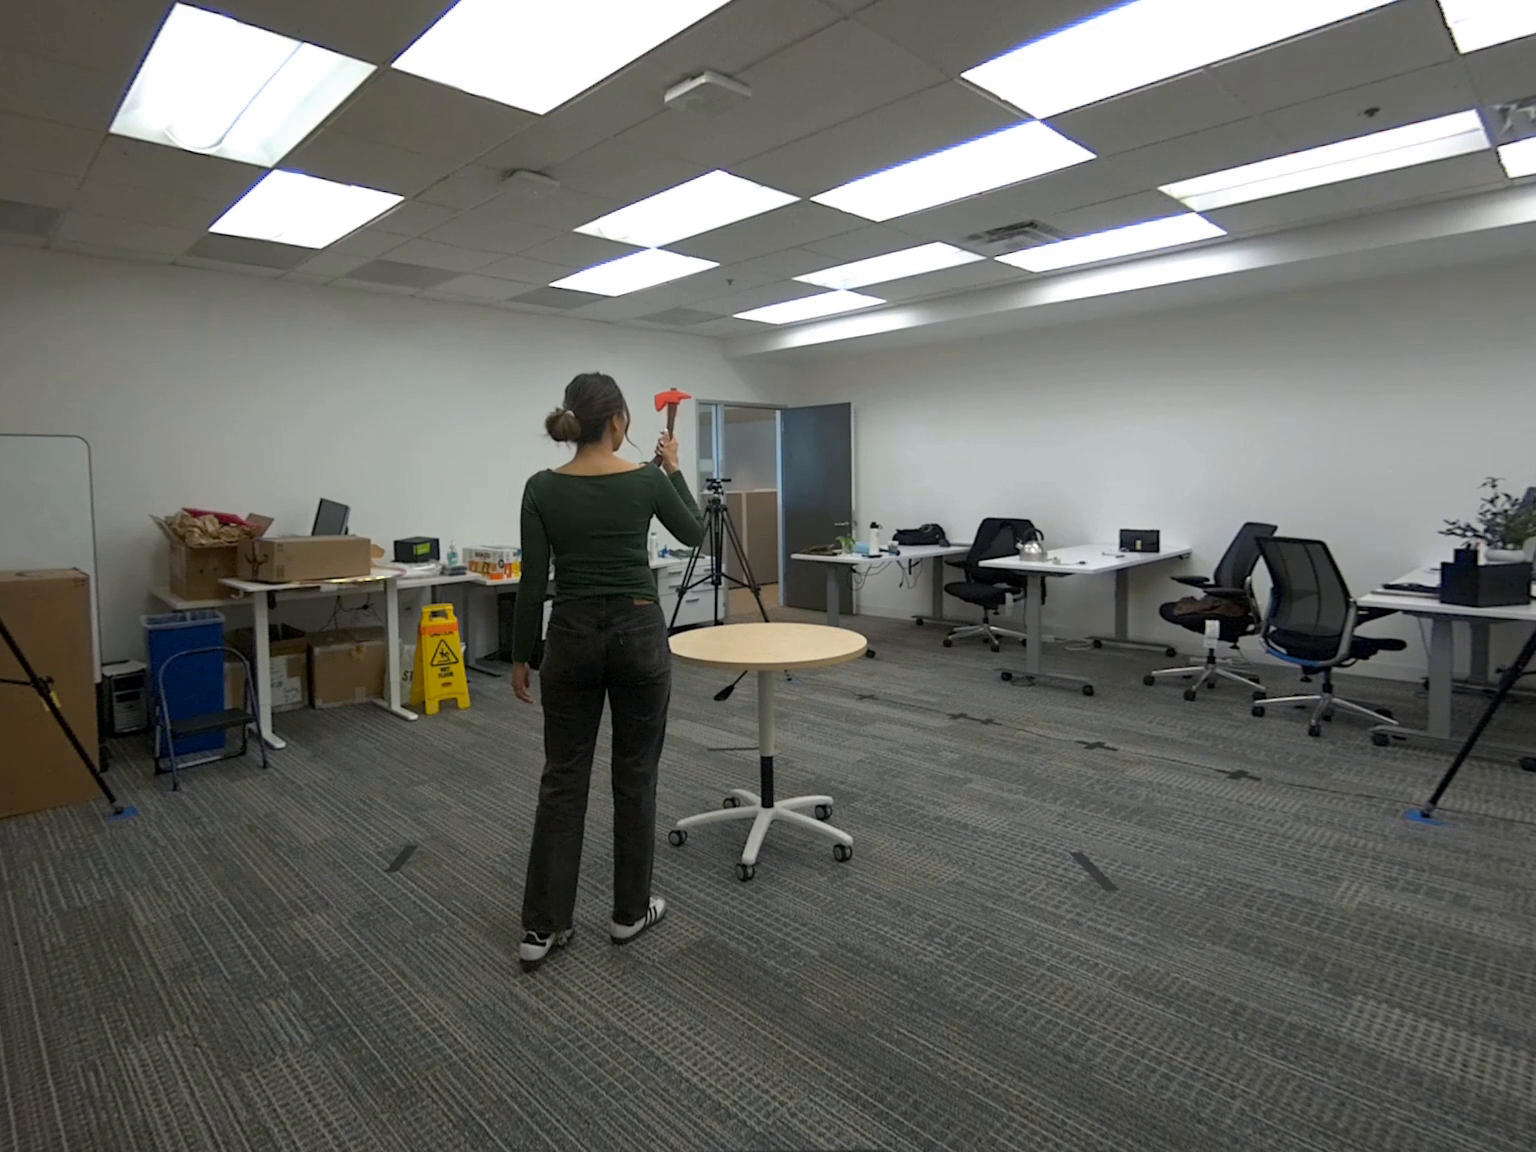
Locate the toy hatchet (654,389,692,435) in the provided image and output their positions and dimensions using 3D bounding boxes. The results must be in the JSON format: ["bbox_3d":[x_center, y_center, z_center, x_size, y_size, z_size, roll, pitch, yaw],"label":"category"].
[{"bbox_3d":[-0.353,-0.507,2.864,0.134,0.270,0.029,20,-4,18],"label":"toy hatchet"}]
